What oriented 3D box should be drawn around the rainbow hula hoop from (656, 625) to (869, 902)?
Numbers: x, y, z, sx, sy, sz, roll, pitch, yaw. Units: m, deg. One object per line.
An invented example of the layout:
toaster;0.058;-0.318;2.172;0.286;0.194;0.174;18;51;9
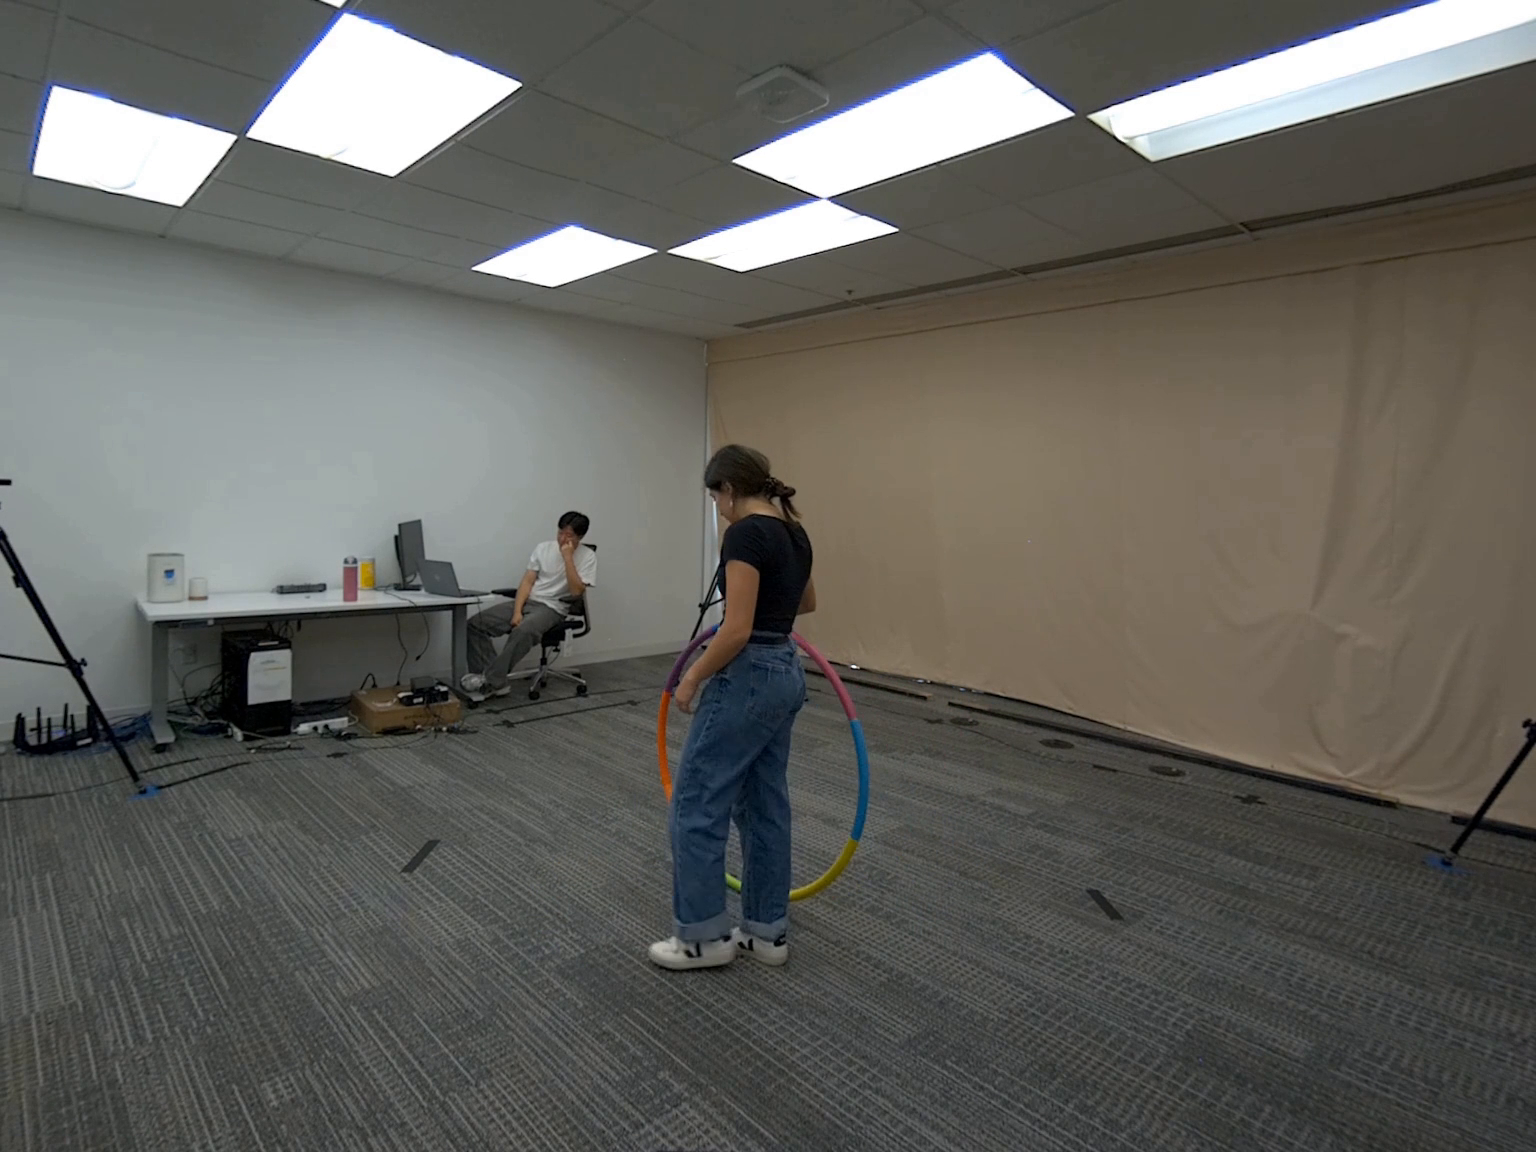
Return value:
rainbow hula hoop;-0.067;0.635;2.953;1.004;0.977;0.035;5;3;43
